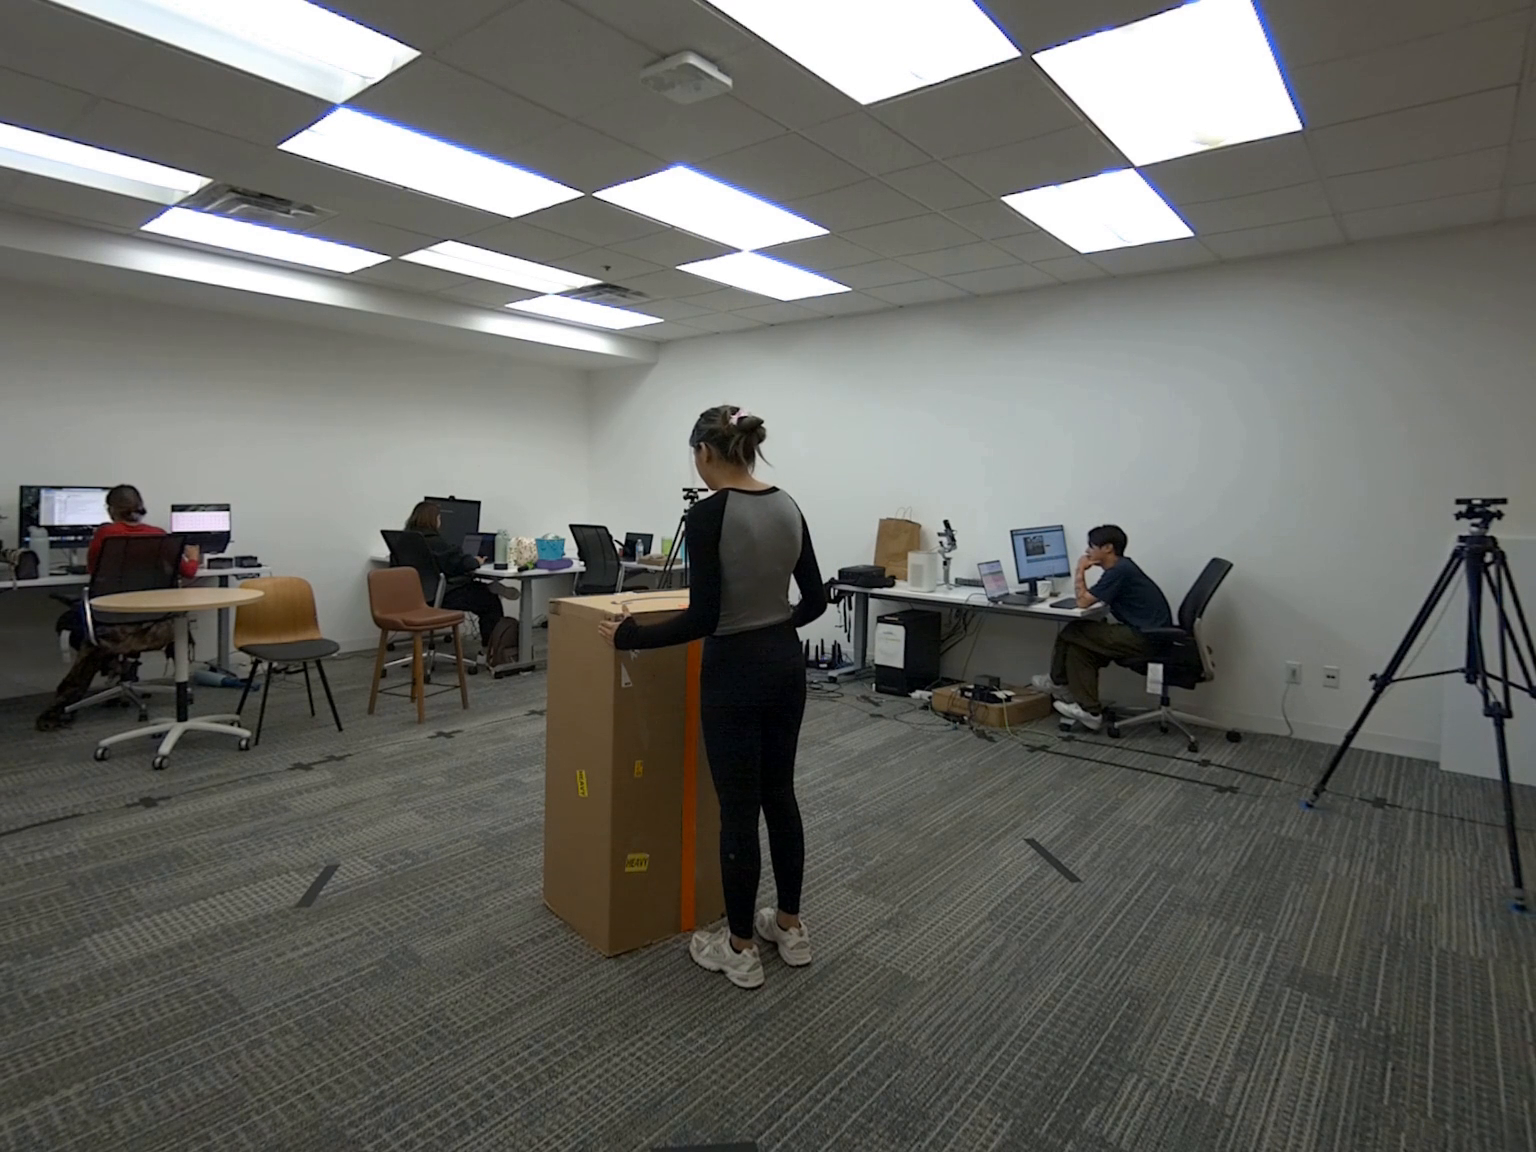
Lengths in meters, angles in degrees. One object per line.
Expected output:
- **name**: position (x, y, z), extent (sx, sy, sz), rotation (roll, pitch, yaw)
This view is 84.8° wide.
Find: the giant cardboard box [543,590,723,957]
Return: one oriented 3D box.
- **giant cardboard box**: position (-0.390, 0.588, 2.815), extent (0.566, 1.025, 0.462), rotation (-1, 3, -41)
